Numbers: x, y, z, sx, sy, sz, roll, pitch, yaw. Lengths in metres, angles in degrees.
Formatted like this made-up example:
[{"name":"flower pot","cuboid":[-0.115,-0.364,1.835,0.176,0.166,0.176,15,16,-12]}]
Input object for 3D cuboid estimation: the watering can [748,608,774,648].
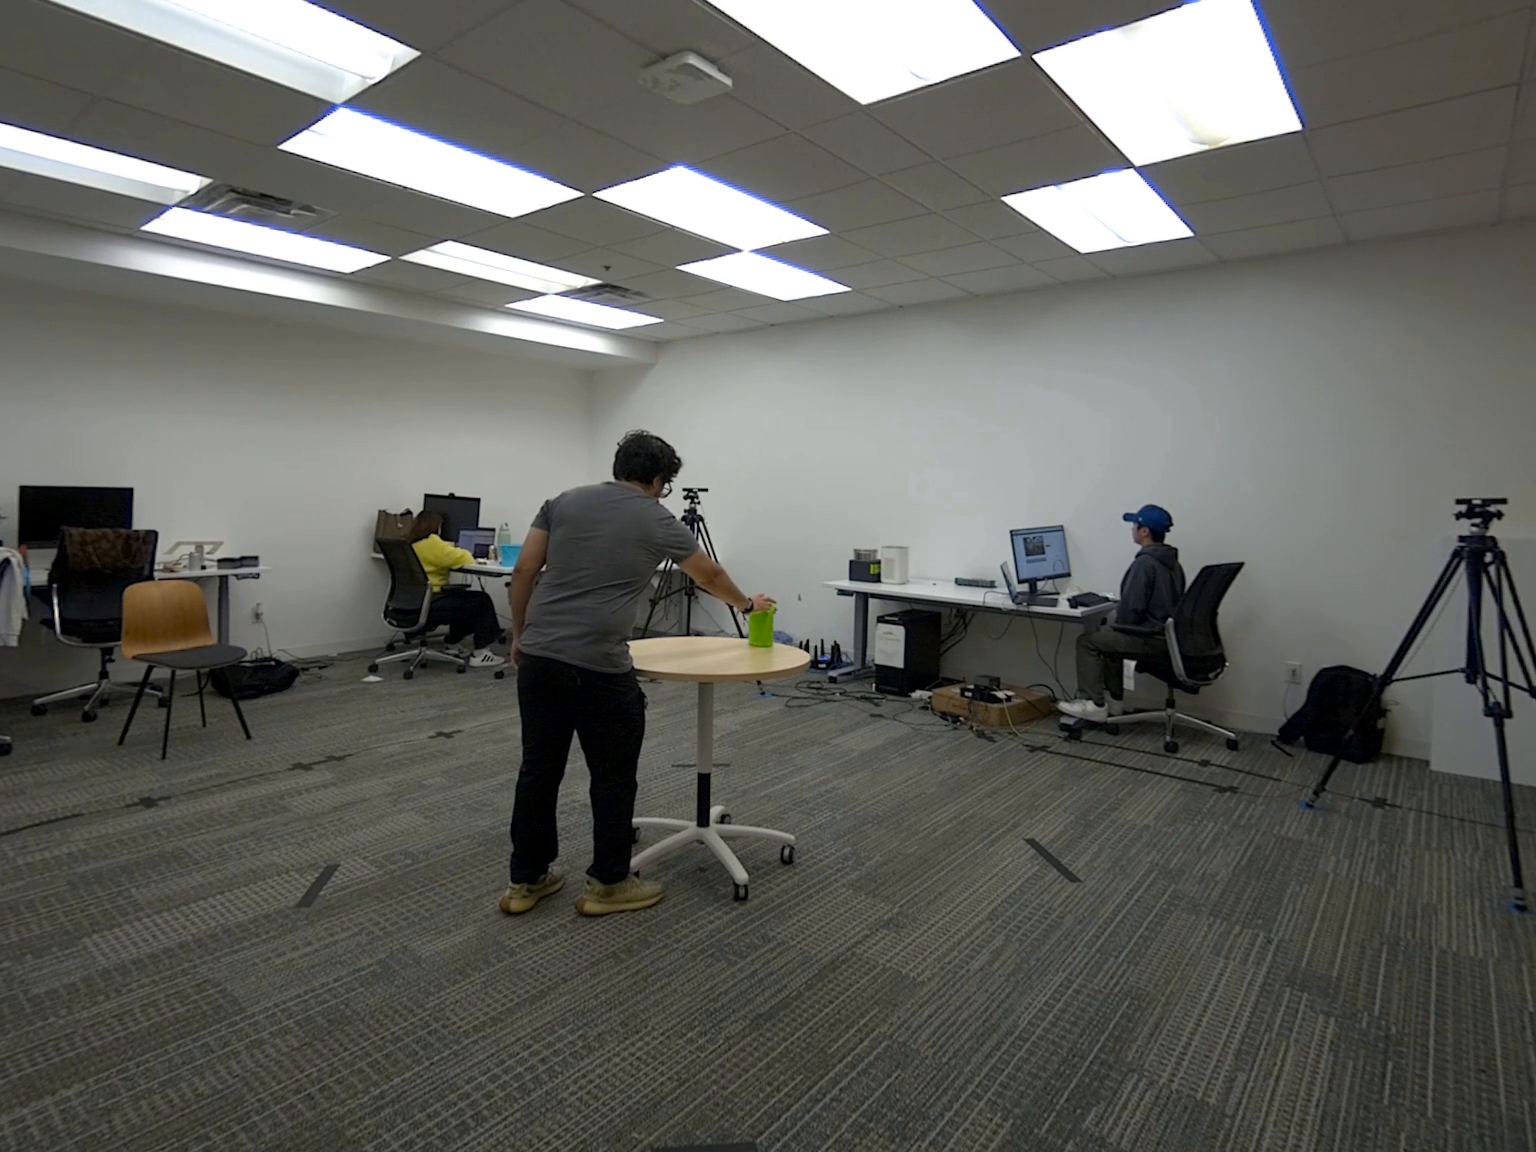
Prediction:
[{"name":"watering can","cuboid":[-0.042,0.187,3.316,0.098,0.176,0.278,1,3,-1]}]
